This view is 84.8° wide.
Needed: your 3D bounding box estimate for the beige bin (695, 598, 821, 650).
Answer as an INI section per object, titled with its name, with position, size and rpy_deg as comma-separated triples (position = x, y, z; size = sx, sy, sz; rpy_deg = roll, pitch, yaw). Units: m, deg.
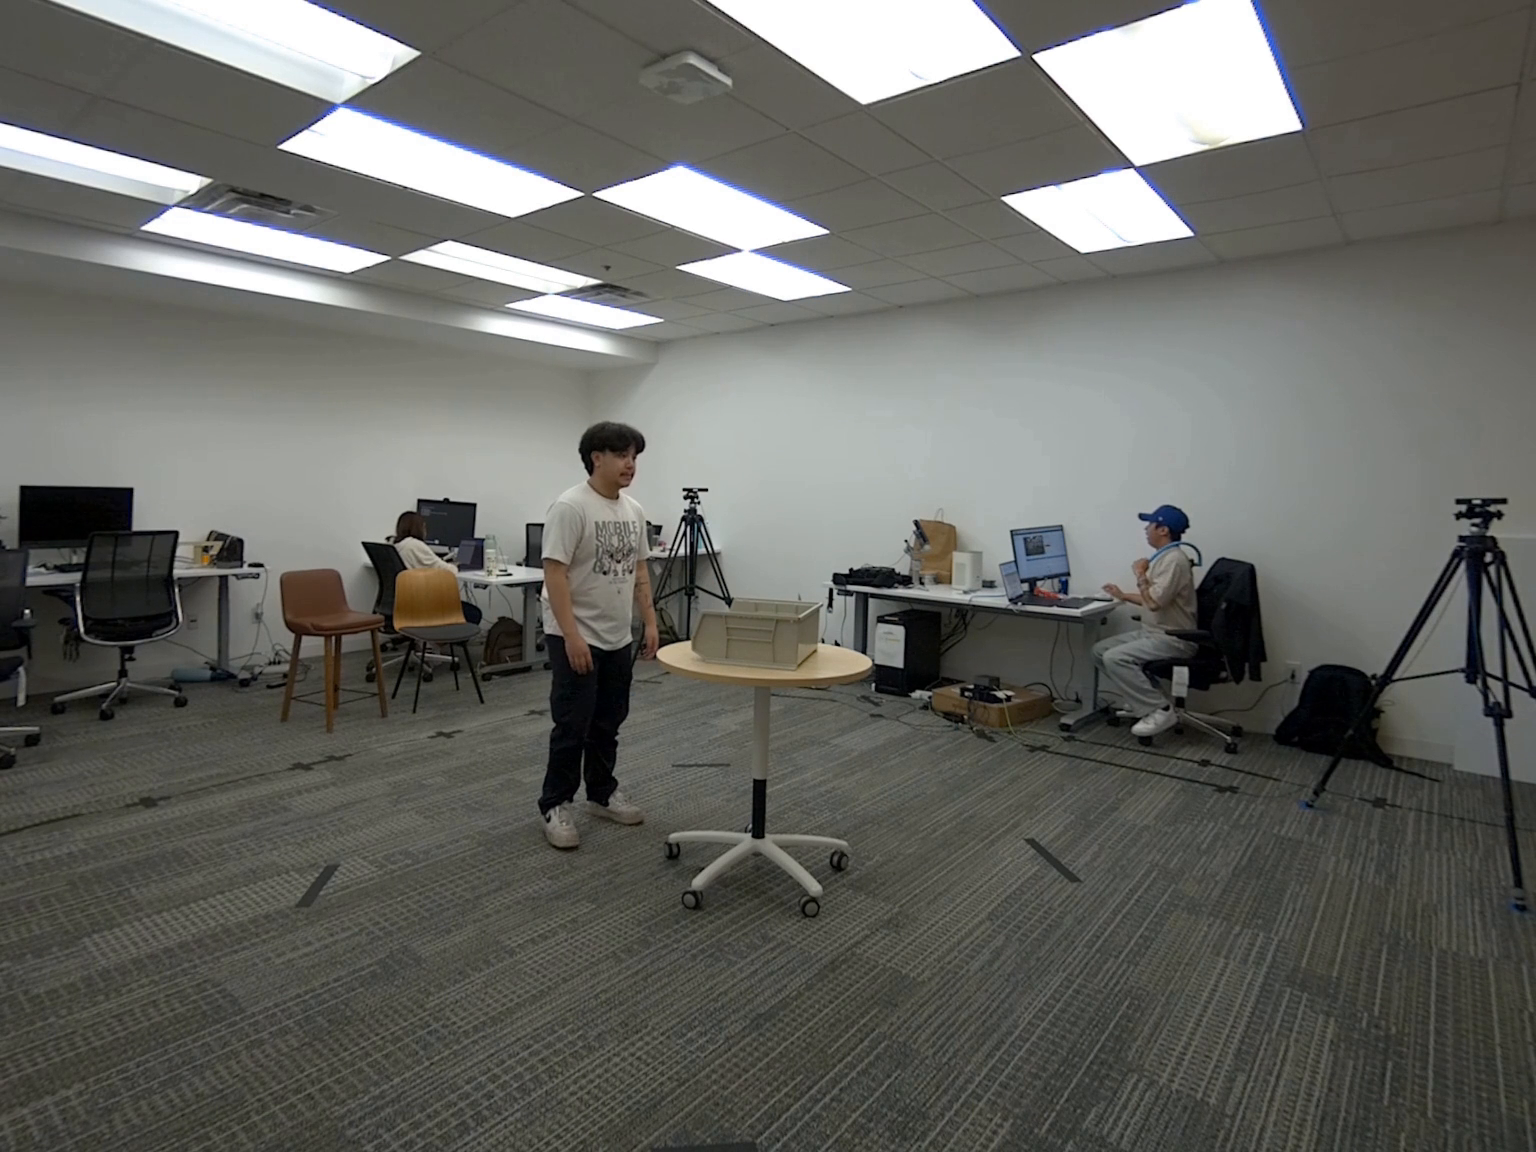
[beige bin]
position = -0.034, 0.195, 3.027
size = 0.384, 0.188, 0.416
rpy_deg = 4, 5, 15
